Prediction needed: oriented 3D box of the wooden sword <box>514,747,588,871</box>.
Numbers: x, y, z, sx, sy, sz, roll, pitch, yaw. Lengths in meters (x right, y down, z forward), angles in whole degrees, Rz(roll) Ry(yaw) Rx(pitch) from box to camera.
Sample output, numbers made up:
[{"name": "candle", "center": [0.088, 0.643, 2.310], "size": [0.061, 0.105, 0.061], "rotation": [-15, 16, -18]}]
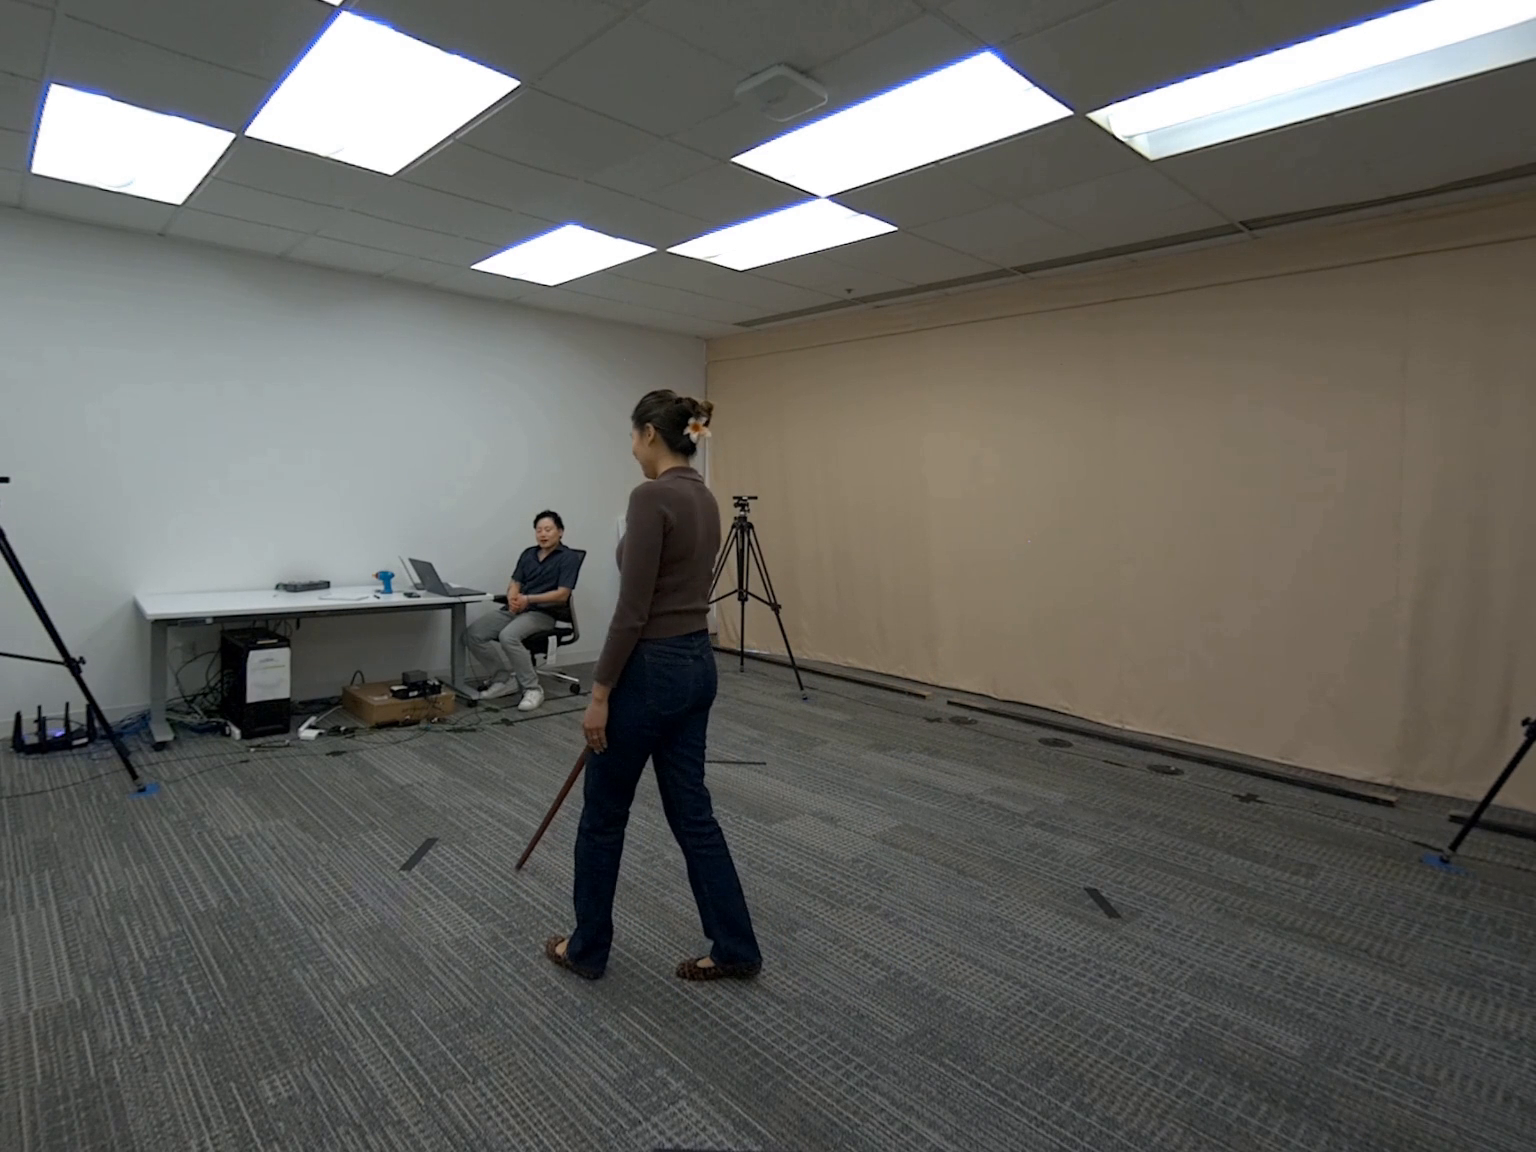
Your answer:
[{"name": "wooden sword", "center": [-0.702, 0.737, 2.858], "size": [0.024, 1.020, 0.050], "rotation": [46, 34, 18]}]
